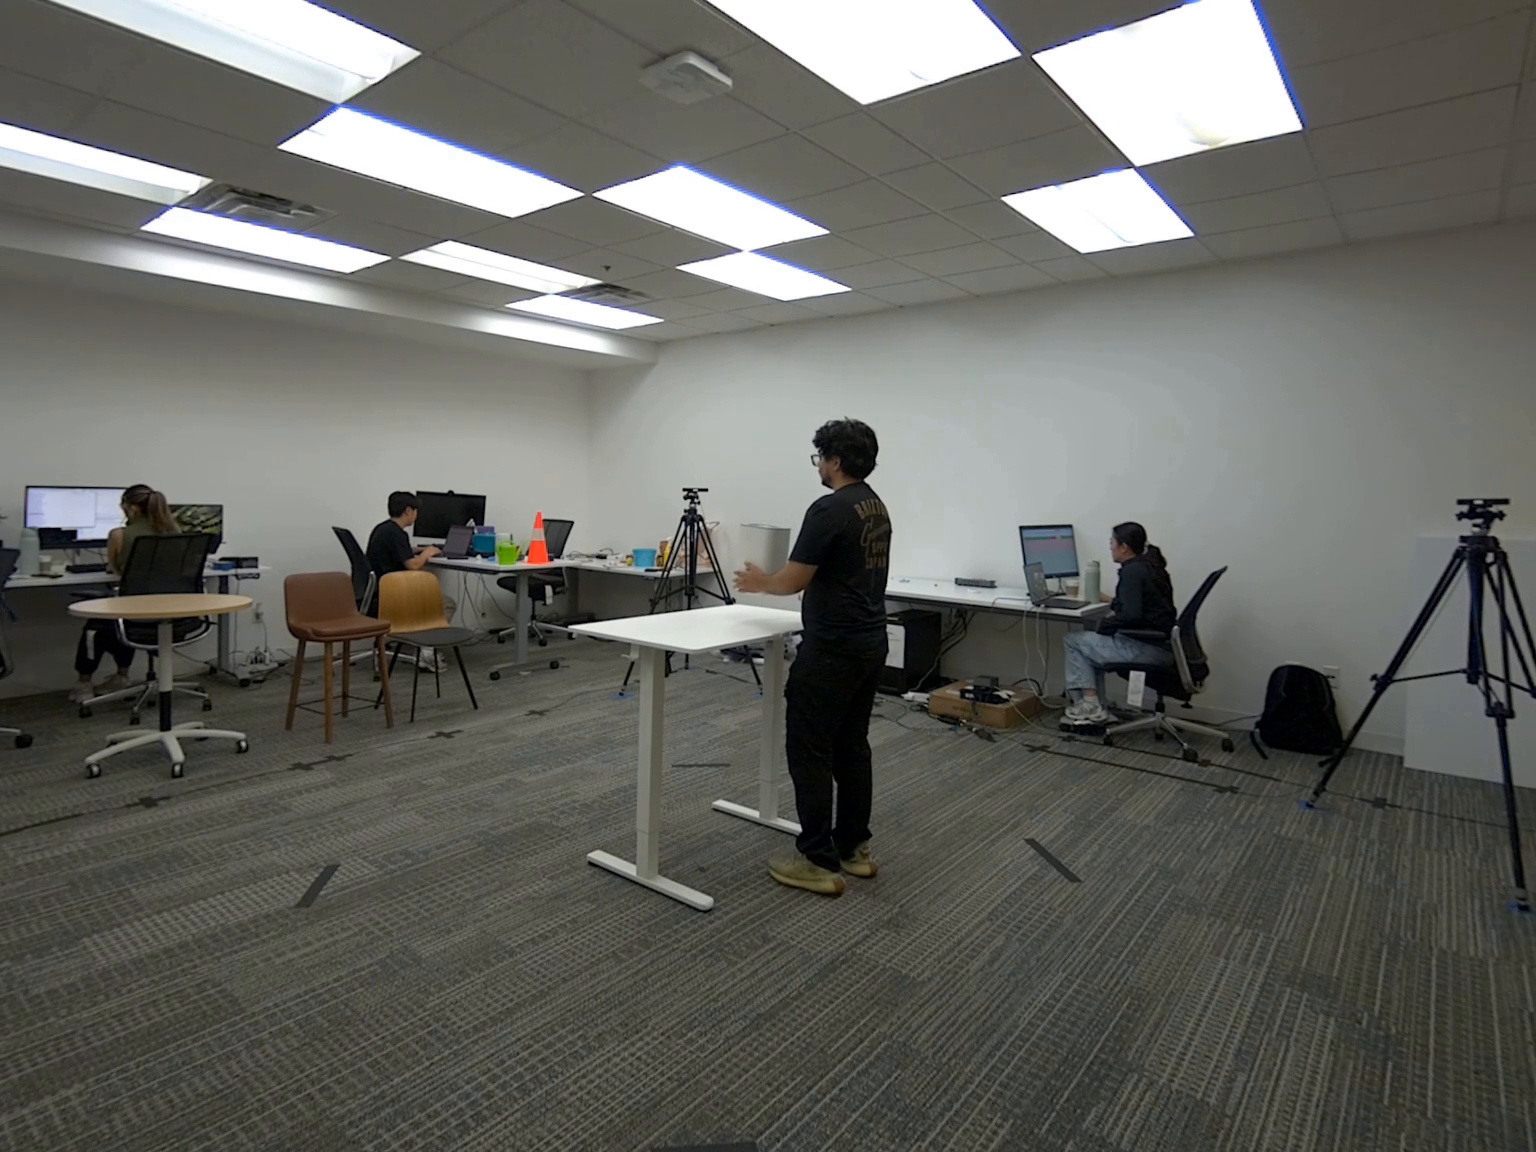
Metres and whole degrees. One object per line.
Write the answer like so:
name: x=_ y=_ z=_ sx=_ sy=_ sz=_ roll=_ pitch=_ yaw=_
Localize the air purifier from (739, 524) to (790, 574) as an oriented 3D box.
air purifier: x=-0.030 y=-0.070 z=3.314 sx=0.177 sy=0.264 sz=0.166 roll=10 pitch=7 yaw=35
